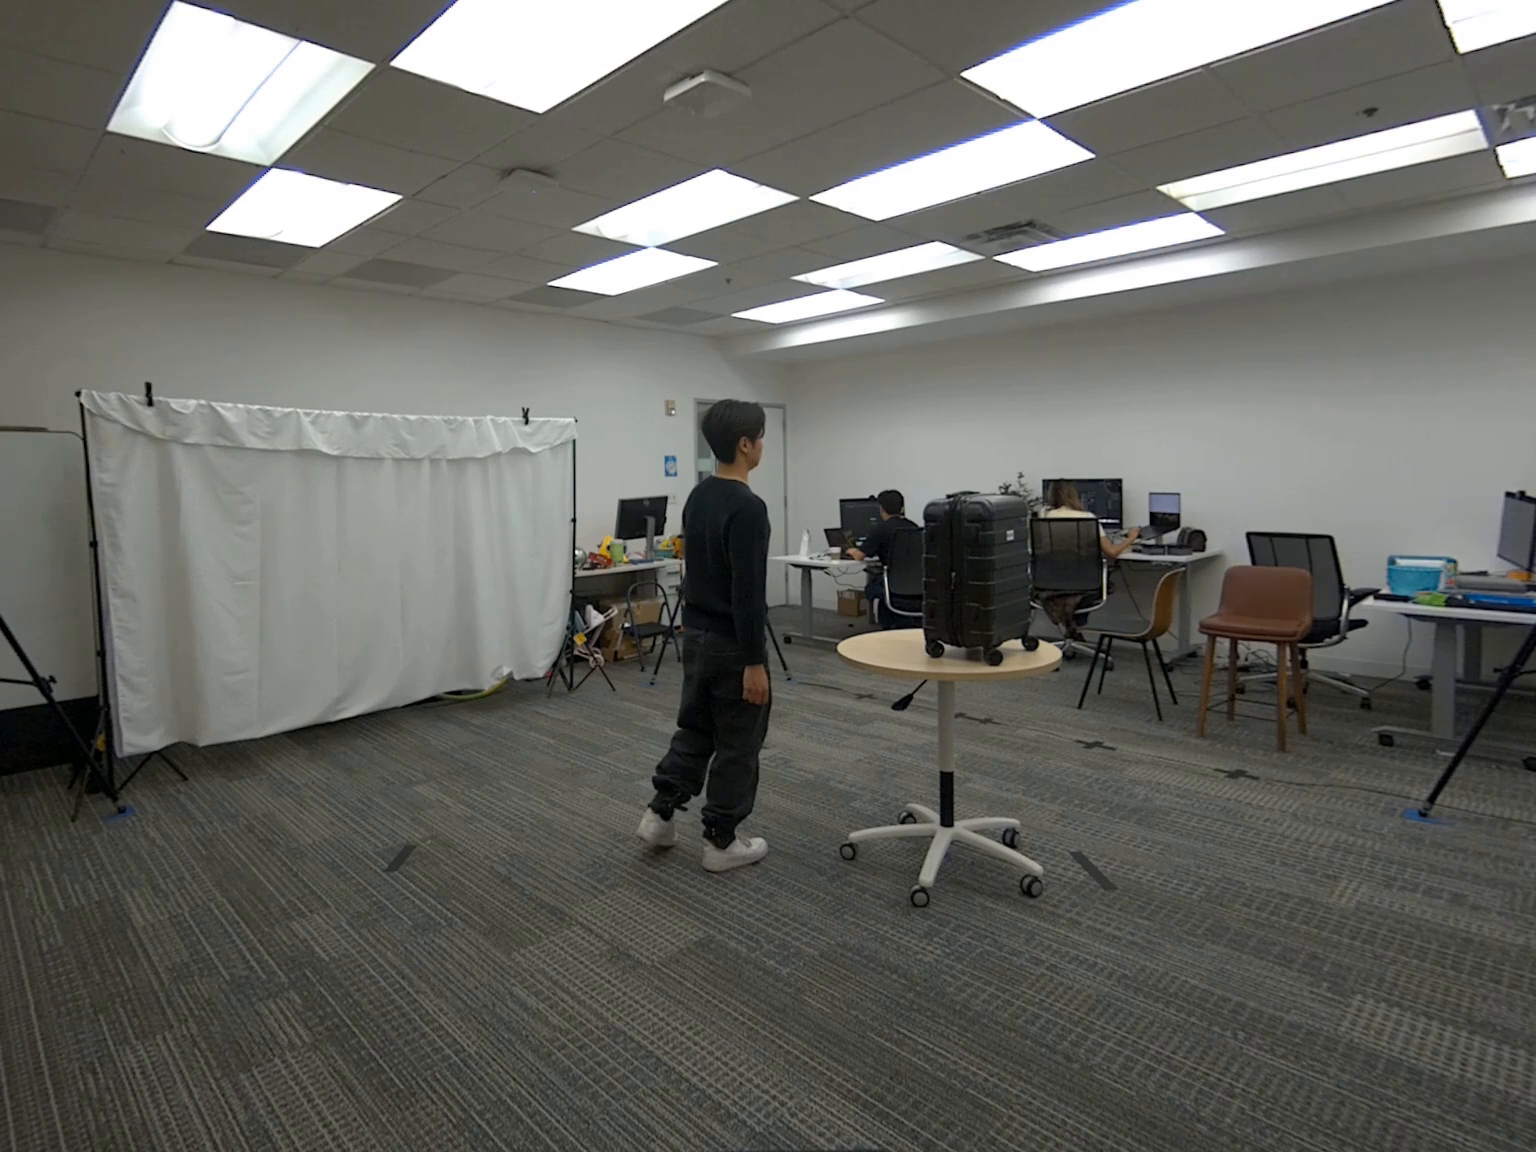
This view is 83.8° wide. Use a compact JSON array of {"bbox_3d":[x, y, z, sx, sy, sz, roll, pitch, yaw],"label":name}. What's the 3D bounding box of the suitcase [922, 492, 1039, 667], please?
[{"bbox_3d":[0.713,-0.010,2.904,0.256,0.547,0.366,1,5,41],"label":"suitcase"}]
